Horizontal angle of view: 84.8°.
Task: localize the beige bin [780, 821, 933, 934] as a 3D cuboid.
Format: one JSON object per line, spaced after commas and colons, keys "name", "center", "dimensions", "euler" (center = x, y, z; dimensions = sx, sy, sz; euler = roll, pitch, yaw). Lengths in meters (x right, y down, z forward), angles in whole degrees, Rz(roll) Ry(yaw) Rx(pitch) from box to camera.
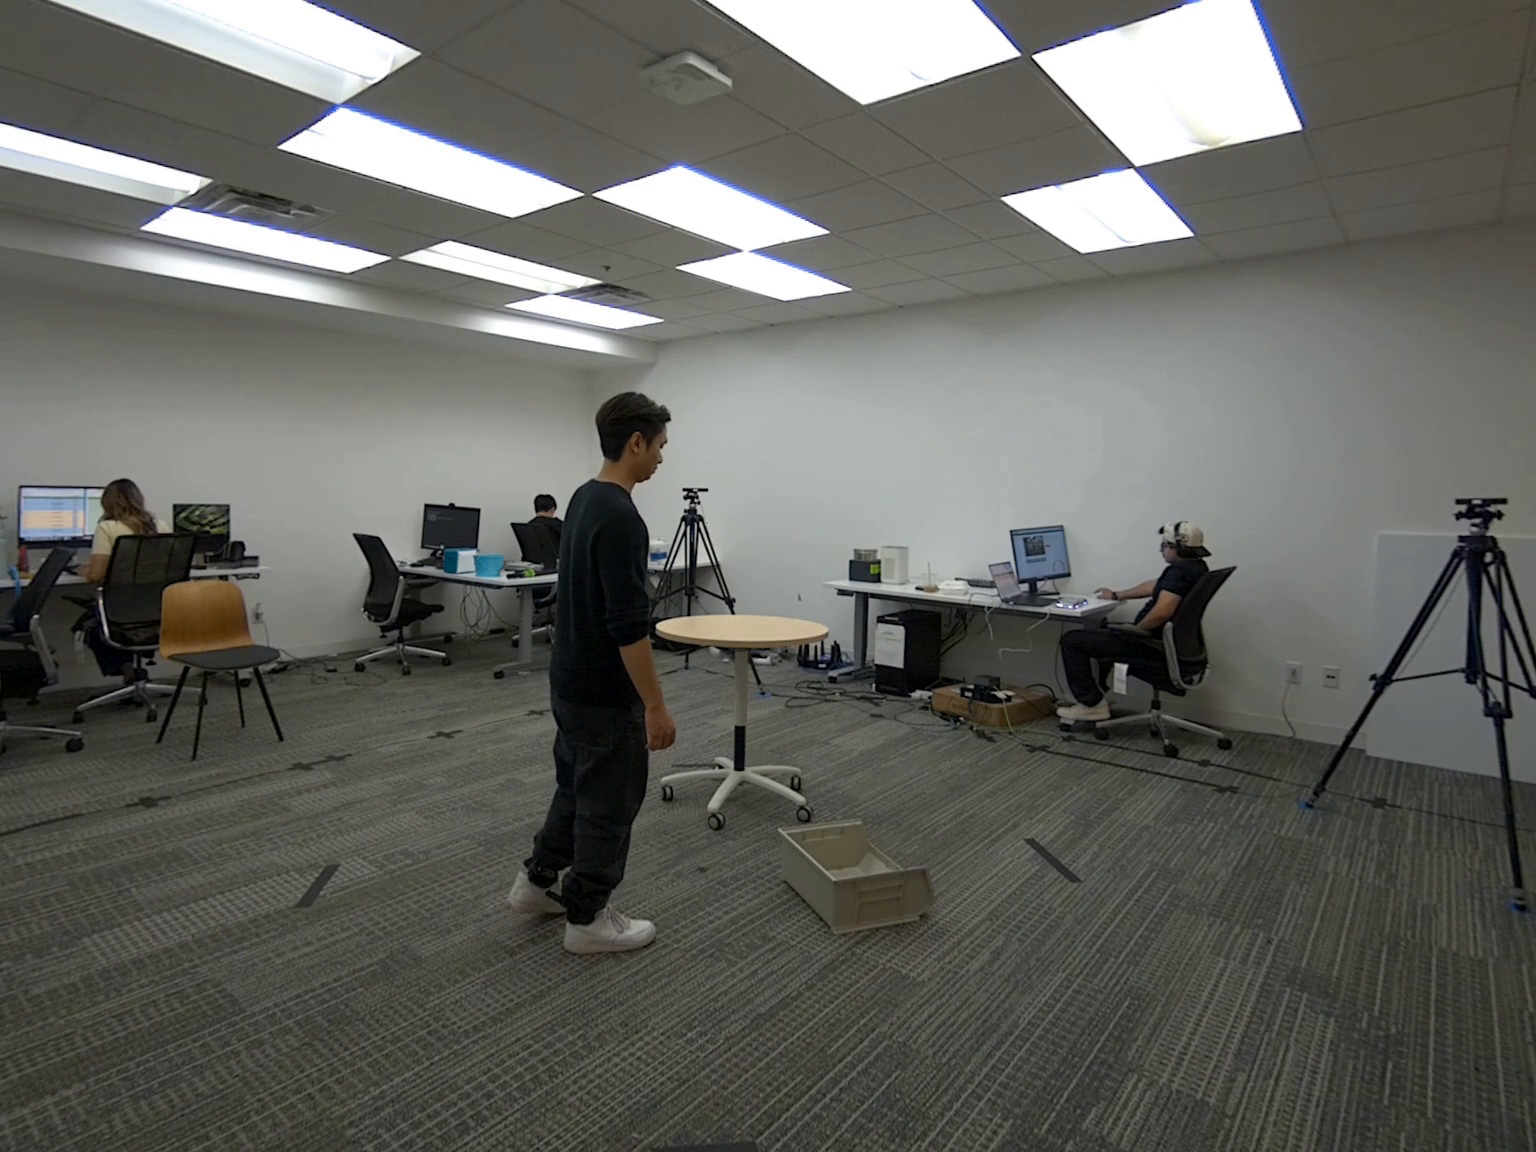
{"name": "beige bin", "center": [0.290, 1.012, 2.917], "dimensions": [0.369, 0.188, 0.433], "euler": [-1, 6, -22]}
